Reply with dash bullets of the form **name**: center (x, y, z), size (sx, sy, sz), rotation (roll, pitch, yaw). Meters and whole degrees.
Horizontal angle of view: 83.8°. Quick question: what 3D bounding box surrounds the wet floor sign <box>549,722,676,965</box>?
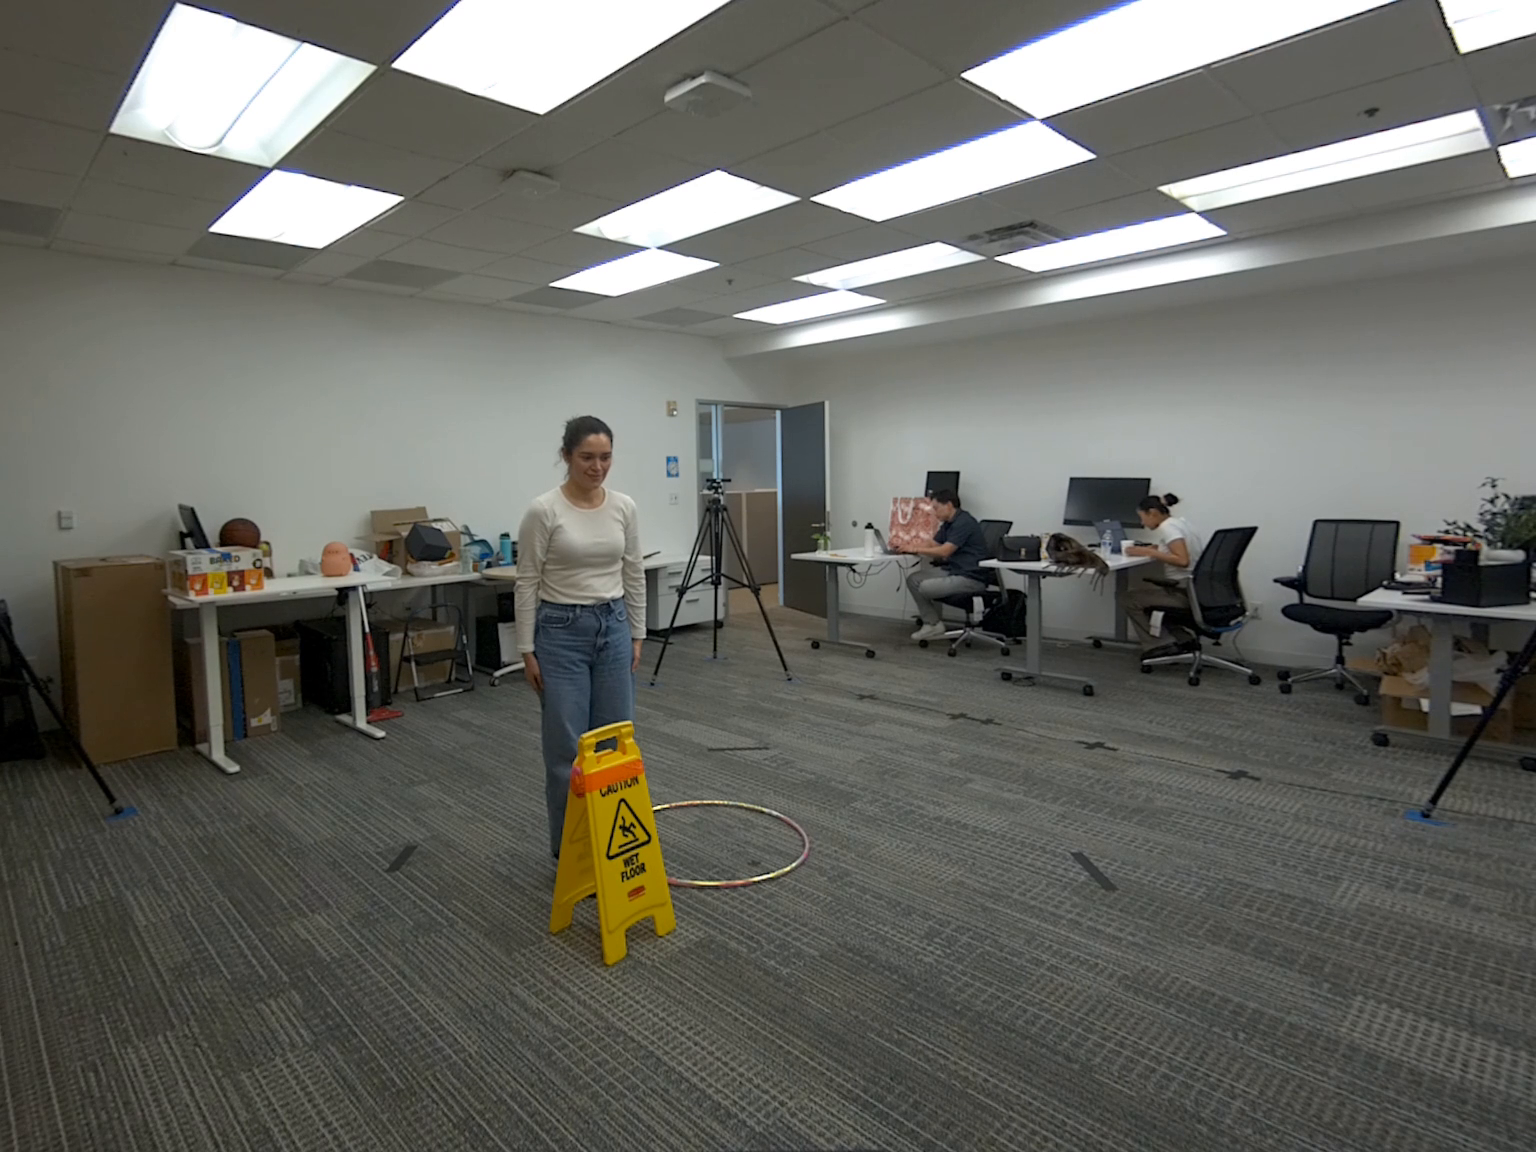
- **wet floor sign**: center (-0.483, 0.781, 2.644), size (0.298, 0.643, 0.275), rotation (3, 7, 42)
